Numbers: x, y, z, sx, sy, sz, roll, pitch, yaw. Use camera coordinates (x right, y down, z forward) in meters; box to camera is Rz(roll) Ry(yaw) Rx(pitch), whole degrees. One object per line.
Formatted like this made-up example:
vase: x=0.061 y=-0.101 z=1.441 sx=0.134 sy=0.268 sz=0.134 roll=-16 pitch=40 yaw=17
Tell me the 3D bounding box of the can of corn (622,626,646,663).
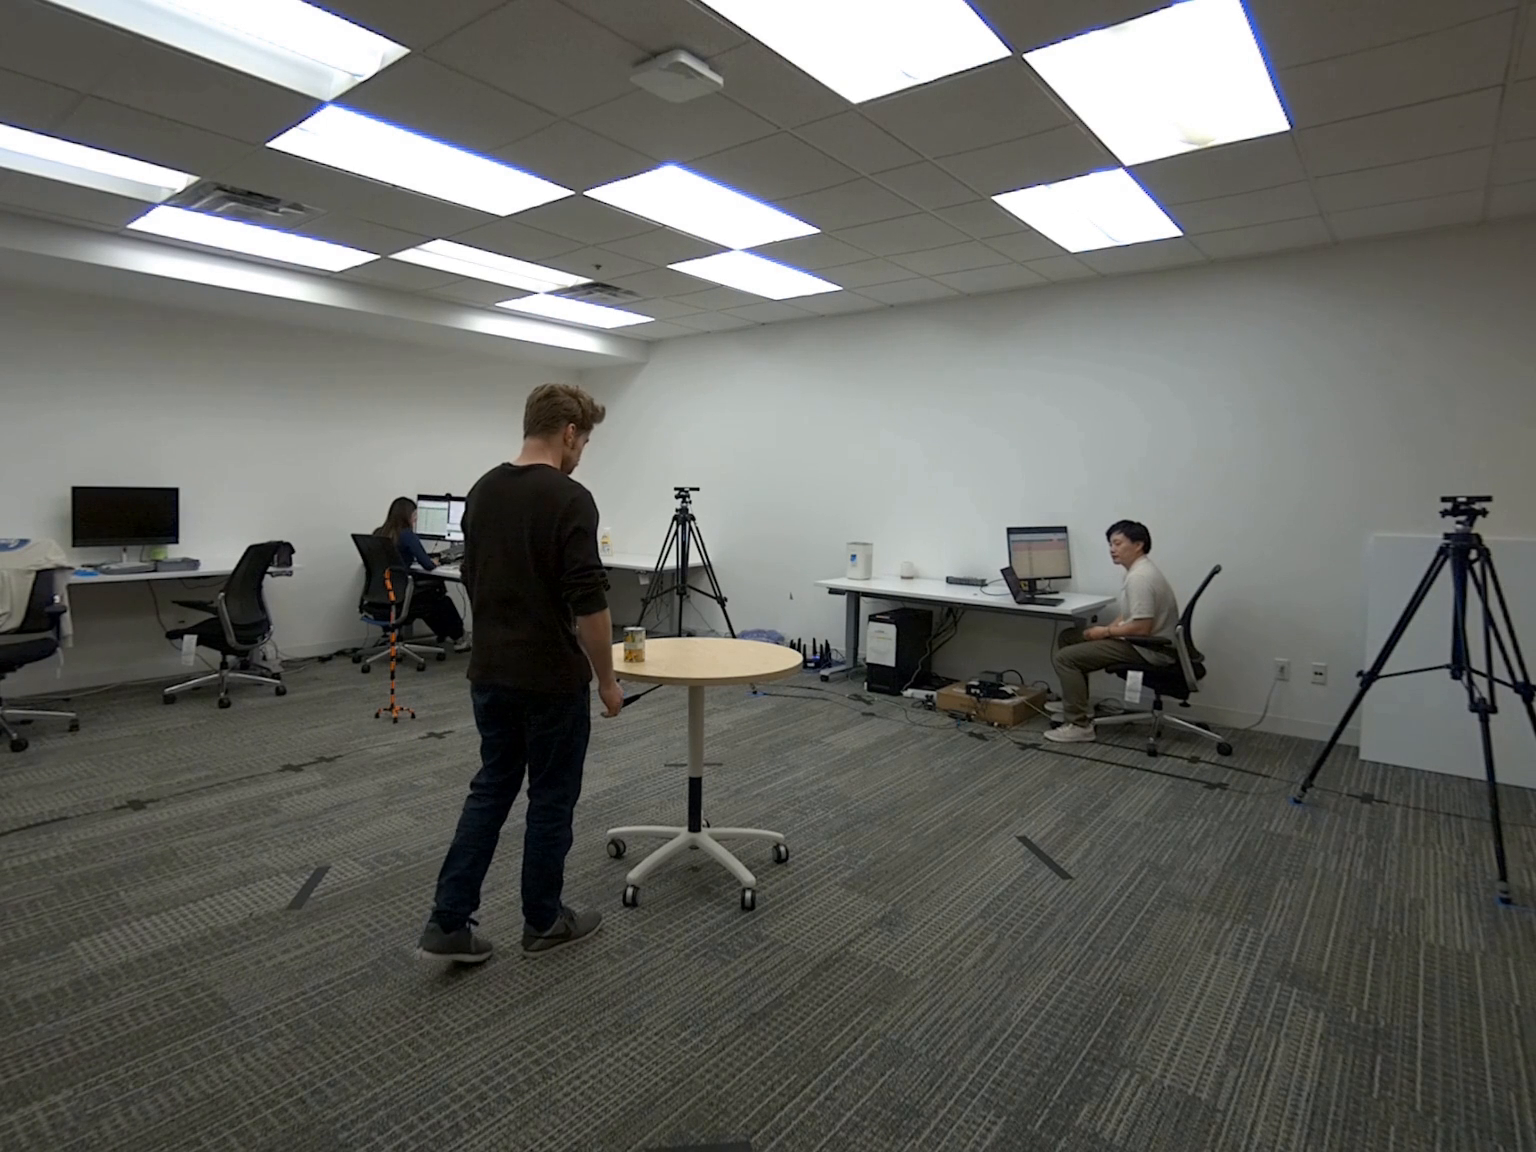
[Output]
can of corn: x=-0.477 y=0.238 z=2.960 sx=0.074 sy=0.110 sz=0.074 roll=-2 pitch=5 yaw=-2
